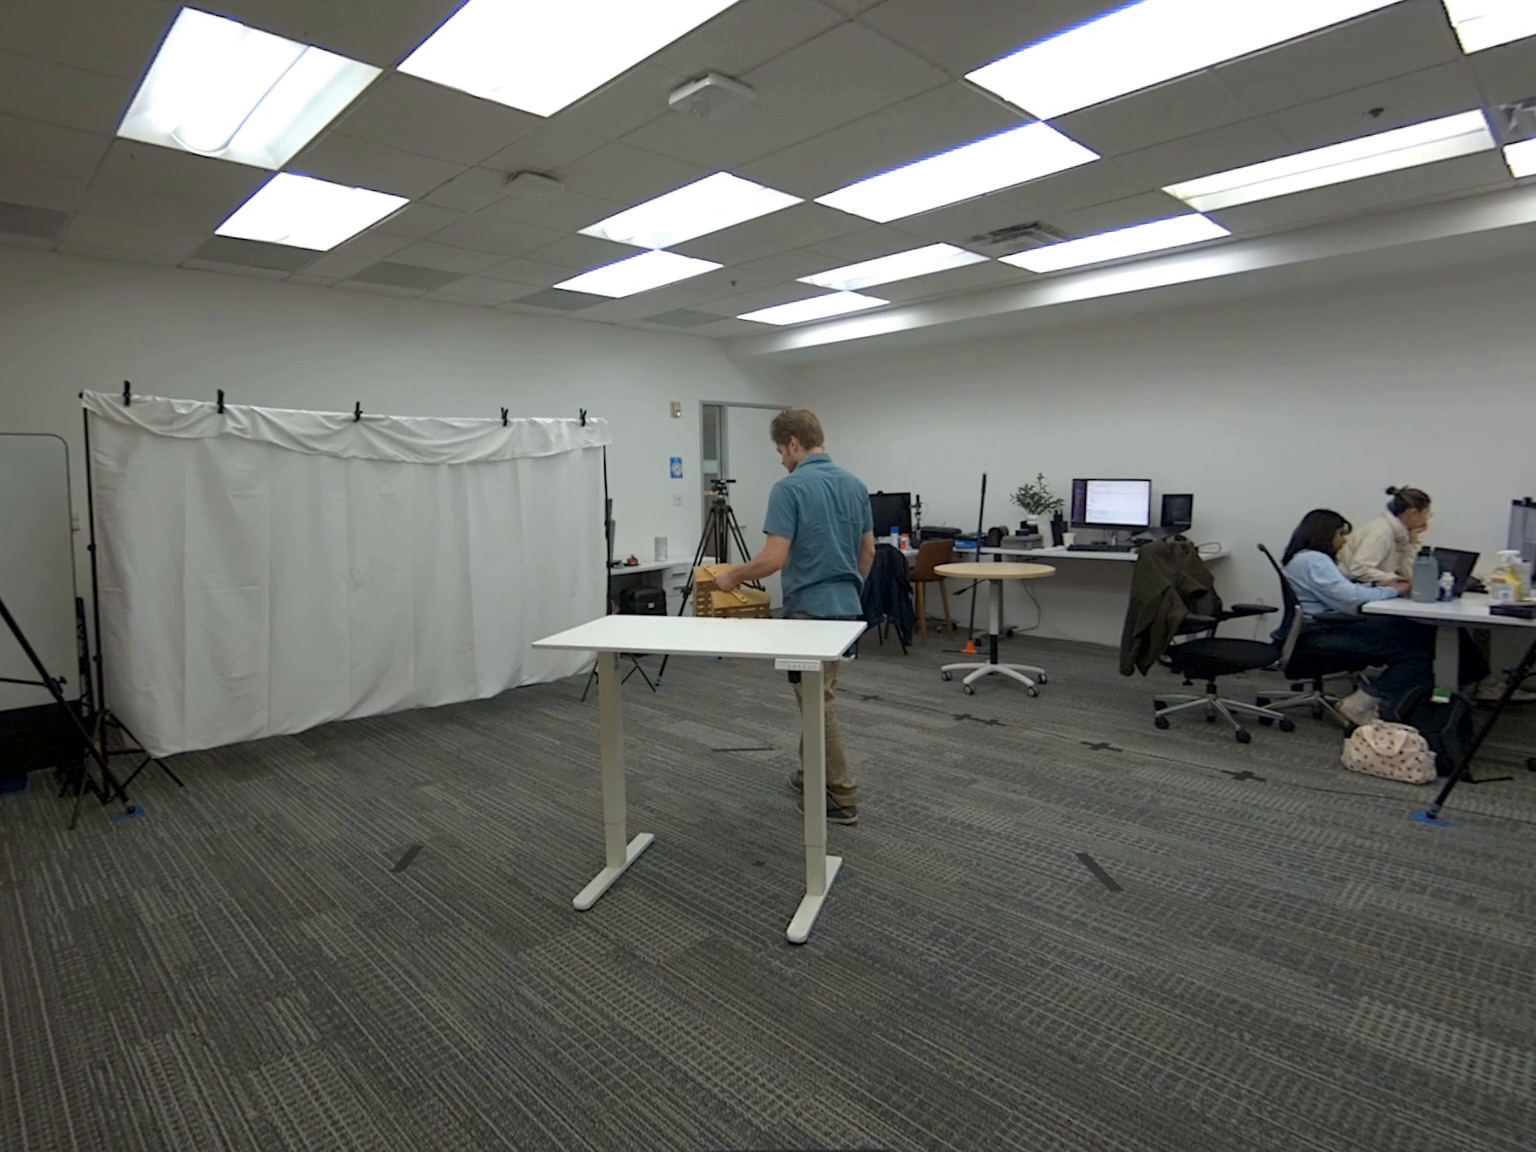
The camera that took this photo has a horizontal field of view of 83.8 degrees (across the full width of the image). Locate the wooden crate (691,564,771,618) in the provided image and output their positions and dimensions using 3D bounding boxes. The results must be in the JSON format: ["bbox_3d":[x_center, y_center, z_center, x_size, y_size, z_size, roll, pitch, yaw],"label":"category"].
[{"bbox_3d":[-0.154,0.139,3.745,0.299,0.317,0.283,-5,42,-13],"label":"wooden crate"}]
